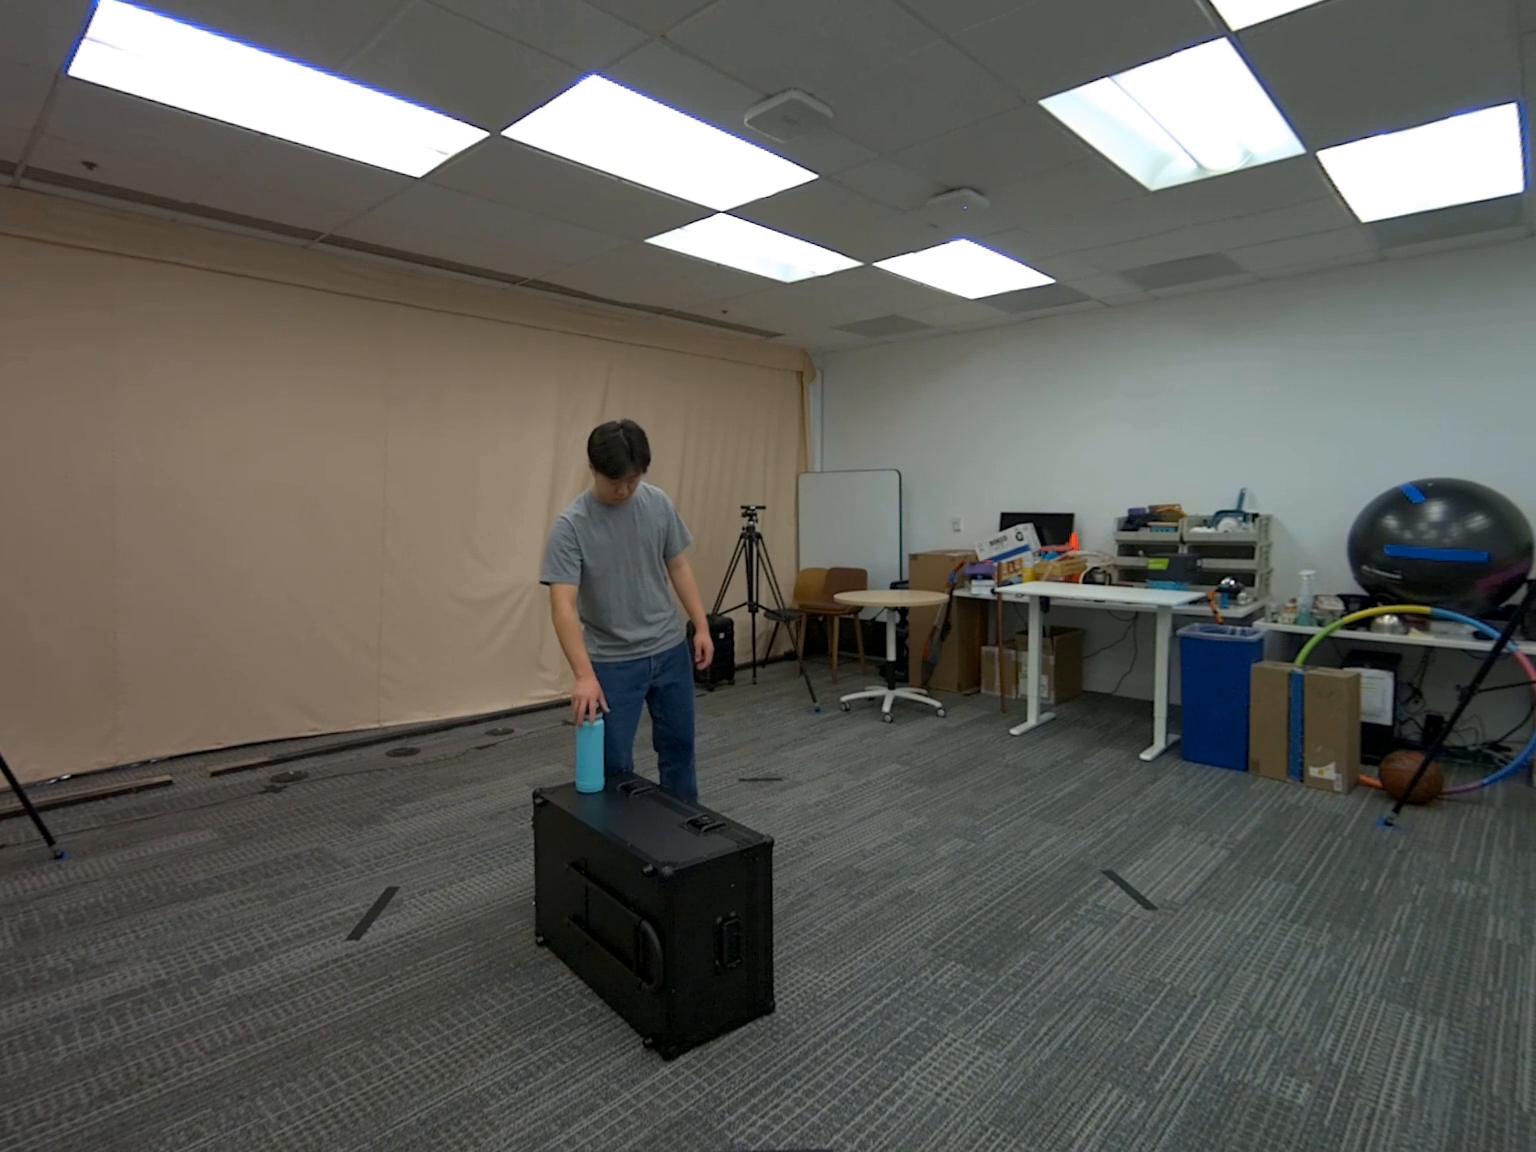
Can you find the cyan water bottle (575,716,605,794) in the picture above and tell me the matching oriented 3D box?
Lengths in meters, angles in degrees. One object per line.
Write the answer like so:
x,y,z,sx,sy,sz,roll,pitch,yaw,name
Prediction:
-0.573,0.553,2.731,0.092,0.284,0.092,0,-3,-2,cyan water bottle
